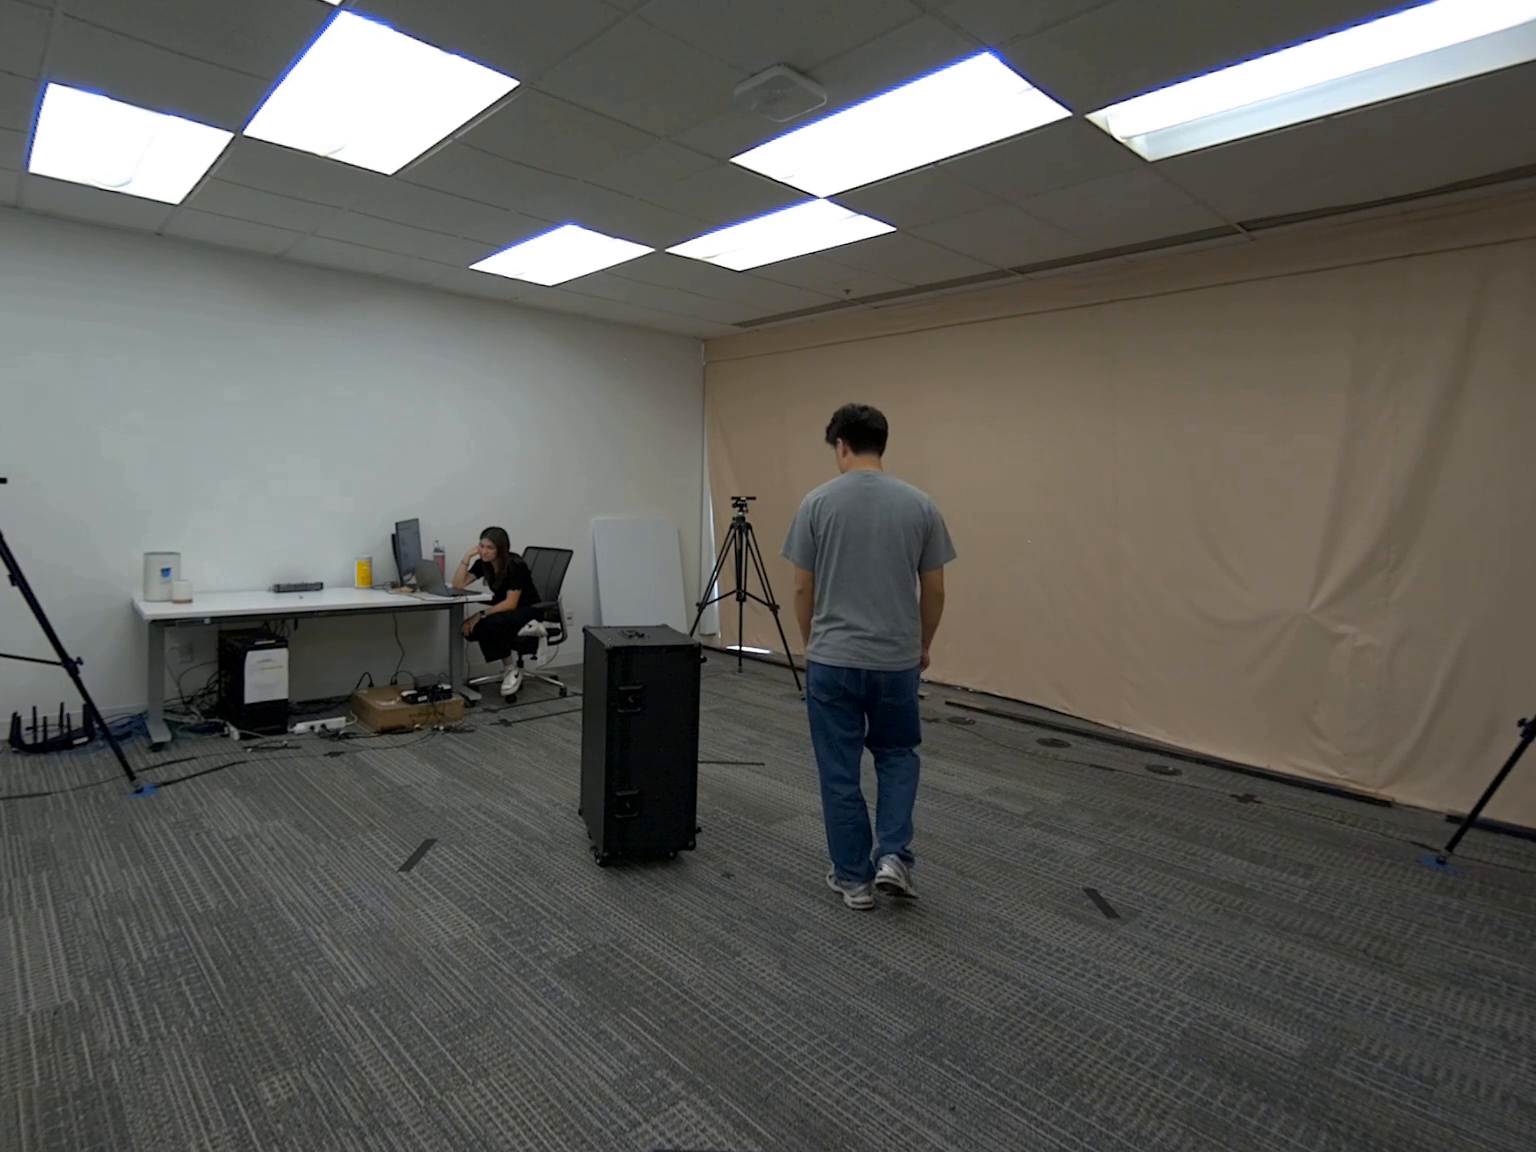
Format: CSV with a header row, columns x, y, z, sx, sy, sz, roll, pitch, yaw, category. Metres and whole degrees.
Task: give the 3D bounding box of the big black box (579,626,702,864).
x,y,z,sx,sy,sz,roll,pitch,yaw,category
-0.514,0.651,3.316,0.390,0.859,0.531,2,3,-22,big black box
